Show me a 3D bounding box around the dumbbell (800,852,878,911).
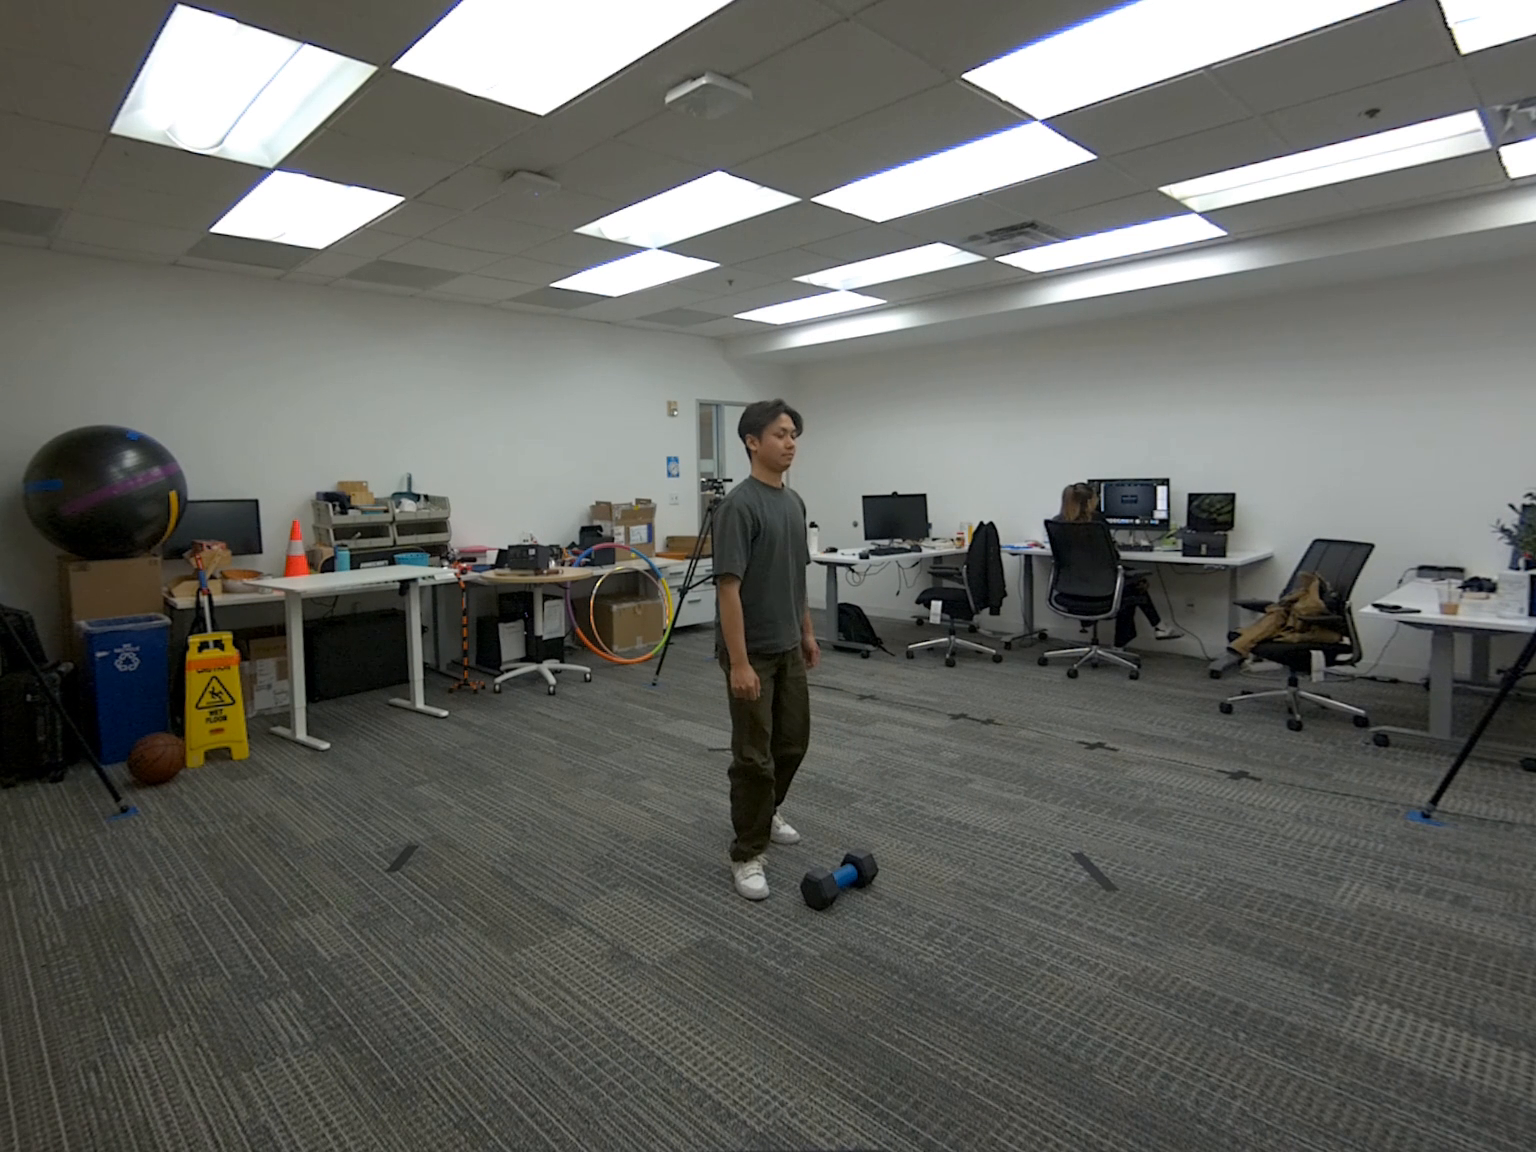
[{"bbox_3d":[0.246,1.016,2.860,0.286,0.121,0.113,-5,38,-44],"label":"dumbbell"}]
